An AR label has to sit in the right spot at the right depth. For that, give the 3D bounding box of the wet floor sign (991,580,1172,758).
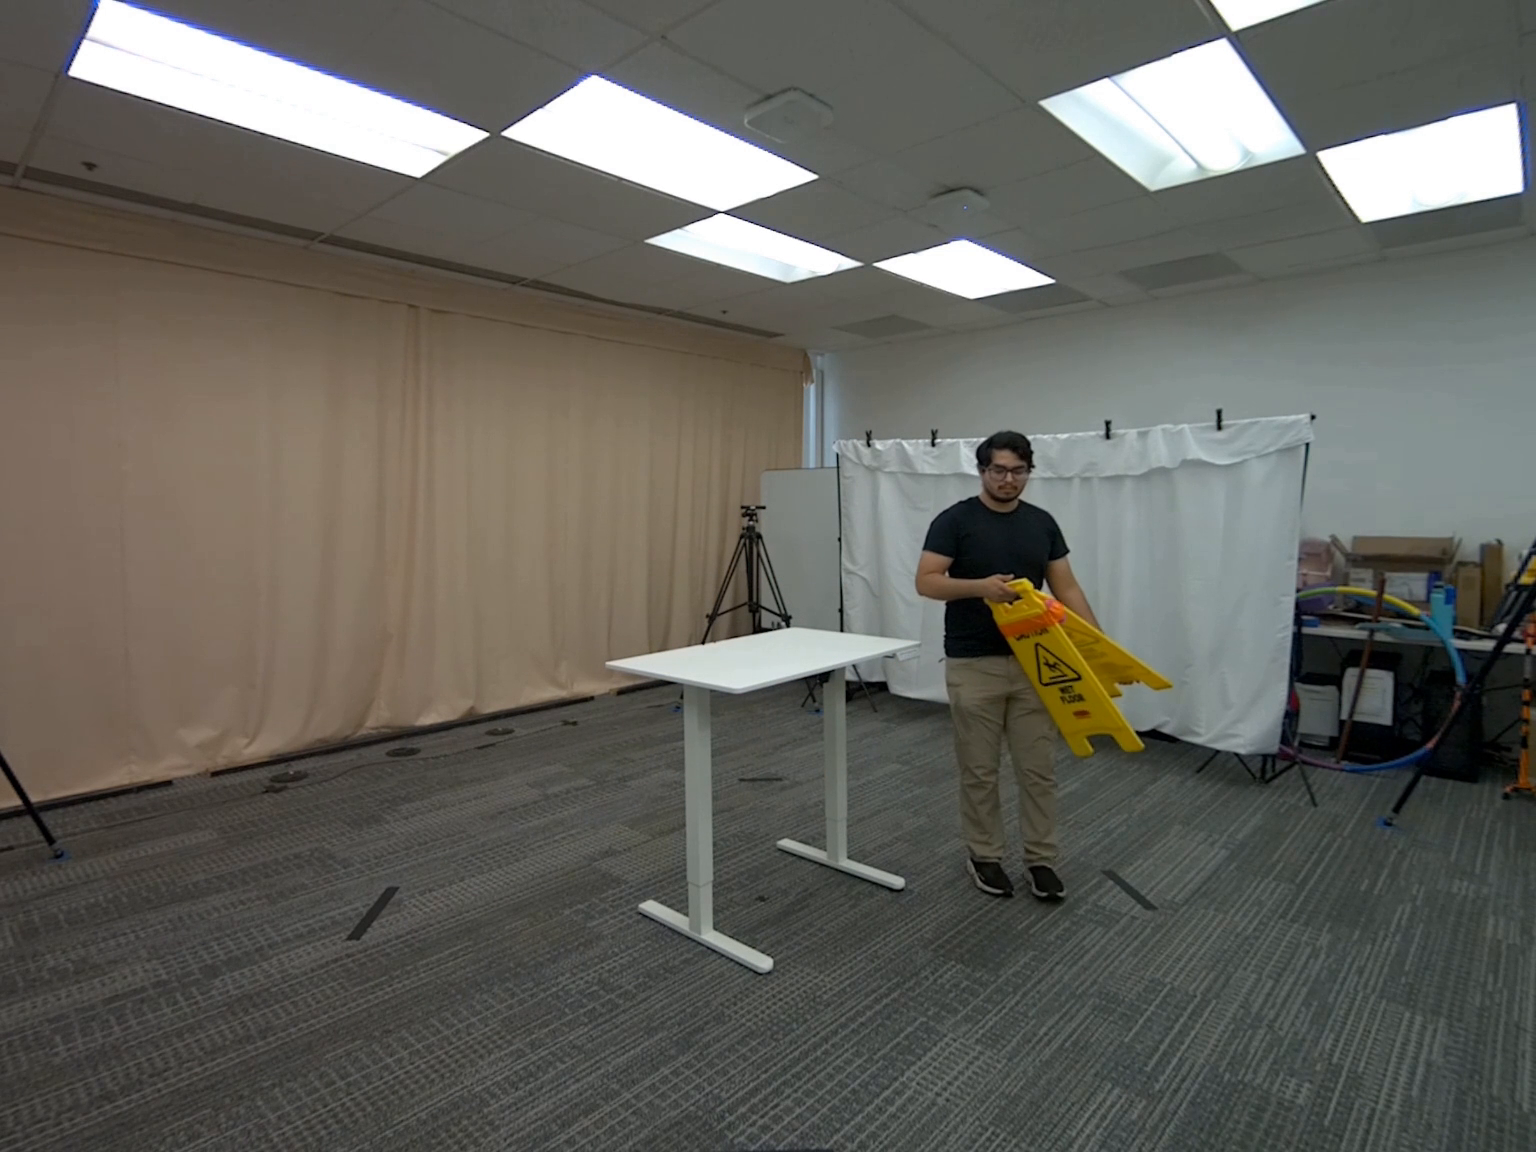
[{"bbox_3d":[0.998,0.267,2.847,0.288,0.643,0.285,-48,5,-27],"label":"wet floor sign"}]
